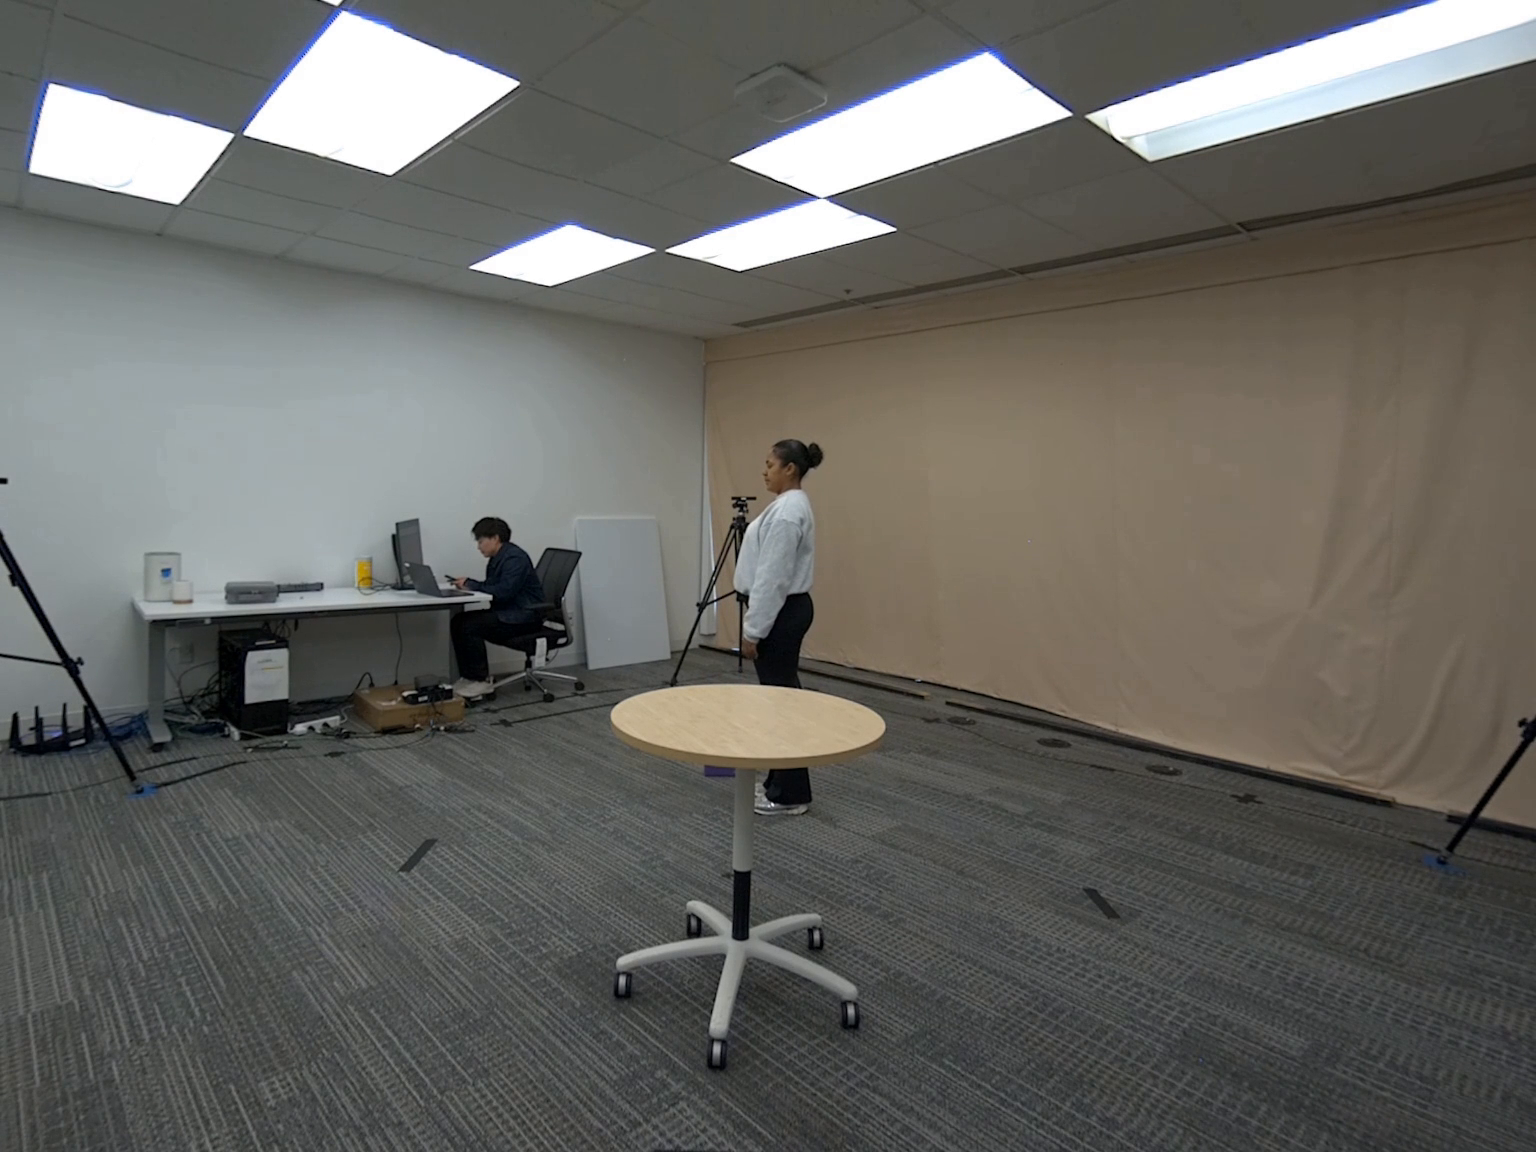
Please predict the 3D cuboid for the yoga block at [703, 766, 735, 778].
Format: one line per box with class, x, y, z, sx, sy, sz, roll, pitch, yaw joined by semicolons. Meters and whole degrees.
yoga block;-0.220;0.934;4.264;0.229;0.149;0.077;1;3;-3
